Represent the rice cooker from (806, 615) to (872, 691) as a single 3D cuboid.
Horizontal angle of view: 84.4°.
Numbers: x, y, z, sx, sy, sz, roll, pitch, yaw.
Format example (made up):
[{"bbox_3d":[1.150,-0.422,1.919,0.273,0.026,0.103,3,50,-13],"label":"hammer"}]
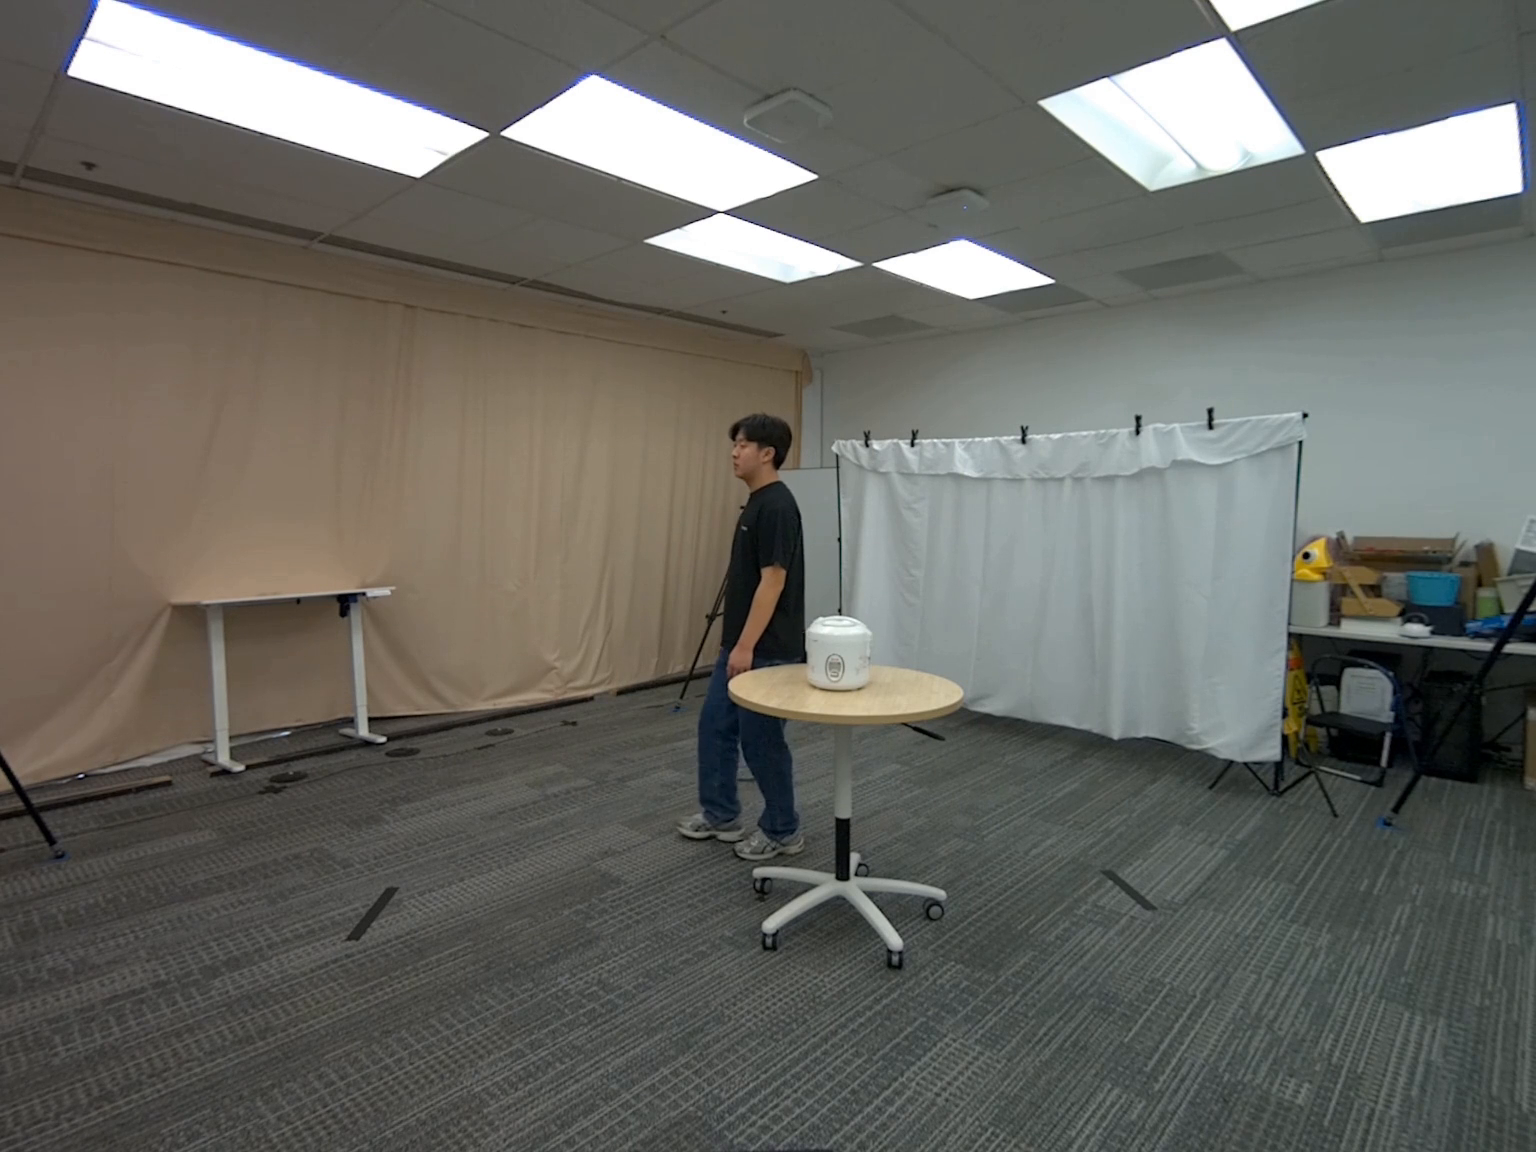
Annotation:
[{"bbox_3d":[0.242,0.251,2.779,0.224,0.232,0.215,1,4,11],"label":"rice cooker"}]
